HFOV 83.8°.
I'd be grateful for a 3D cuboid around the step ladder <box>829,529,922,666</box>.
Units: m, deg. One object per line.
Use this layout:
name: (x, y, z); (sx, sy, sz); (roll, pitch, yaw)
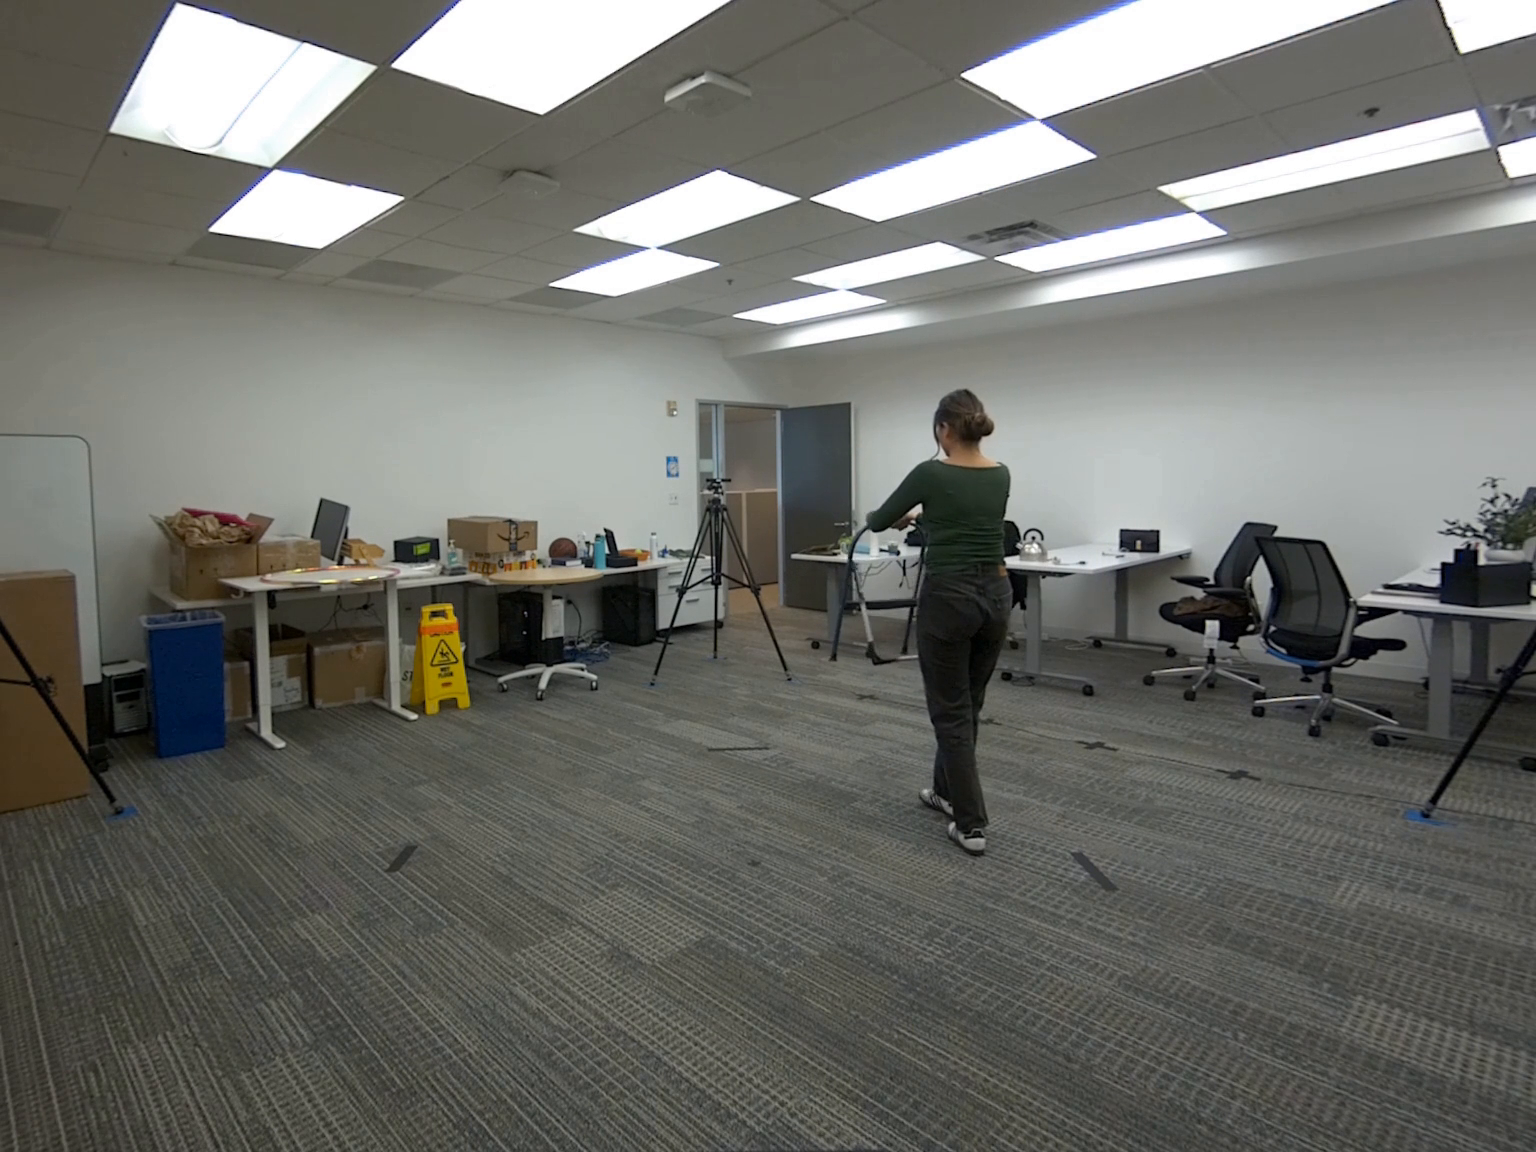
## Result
step ladder: (0.519, 0.063, 3.761); (0.420, 0.608, 0.356); (-1, -3, -28)
